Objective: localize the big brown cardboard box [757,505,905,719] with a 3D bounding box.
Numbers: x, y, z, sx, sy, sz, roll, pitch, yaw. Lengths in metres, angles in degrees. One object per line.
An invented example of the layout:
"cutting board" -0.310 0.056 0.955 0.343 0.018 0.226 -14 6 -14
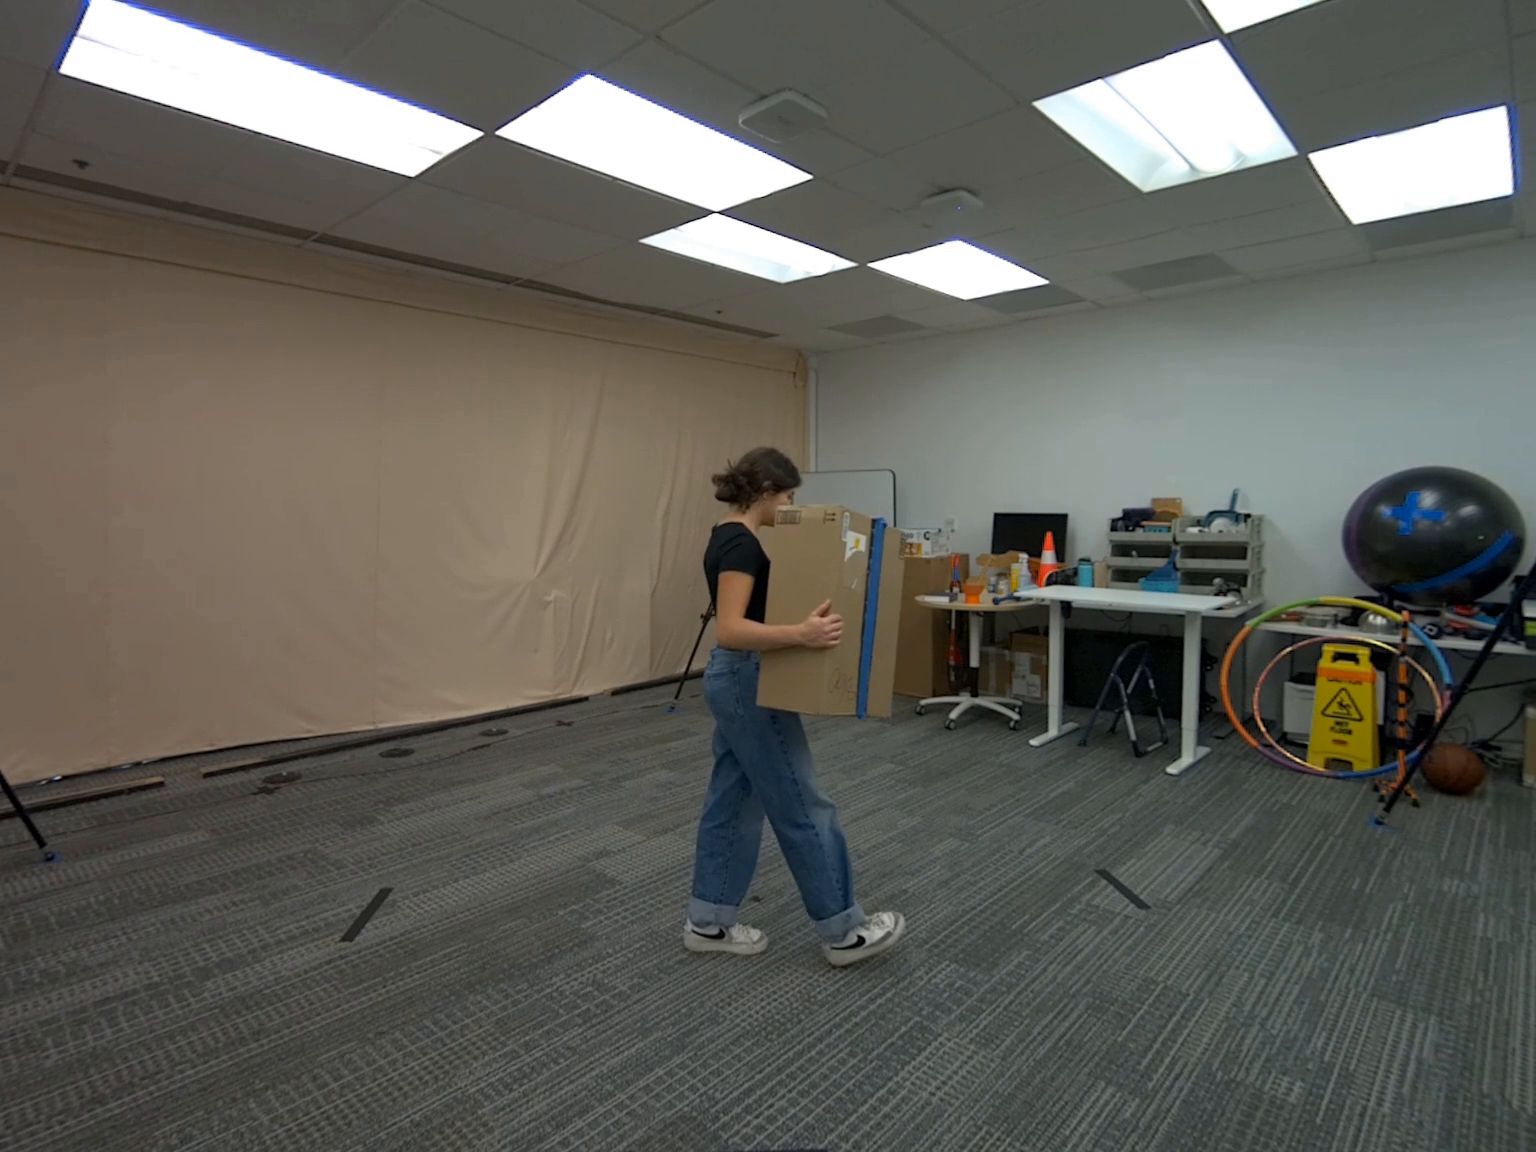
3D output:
"big brown cardboard box" 0.209 0.111 2.460 0.240 0.590 0.403 2 -7 35
